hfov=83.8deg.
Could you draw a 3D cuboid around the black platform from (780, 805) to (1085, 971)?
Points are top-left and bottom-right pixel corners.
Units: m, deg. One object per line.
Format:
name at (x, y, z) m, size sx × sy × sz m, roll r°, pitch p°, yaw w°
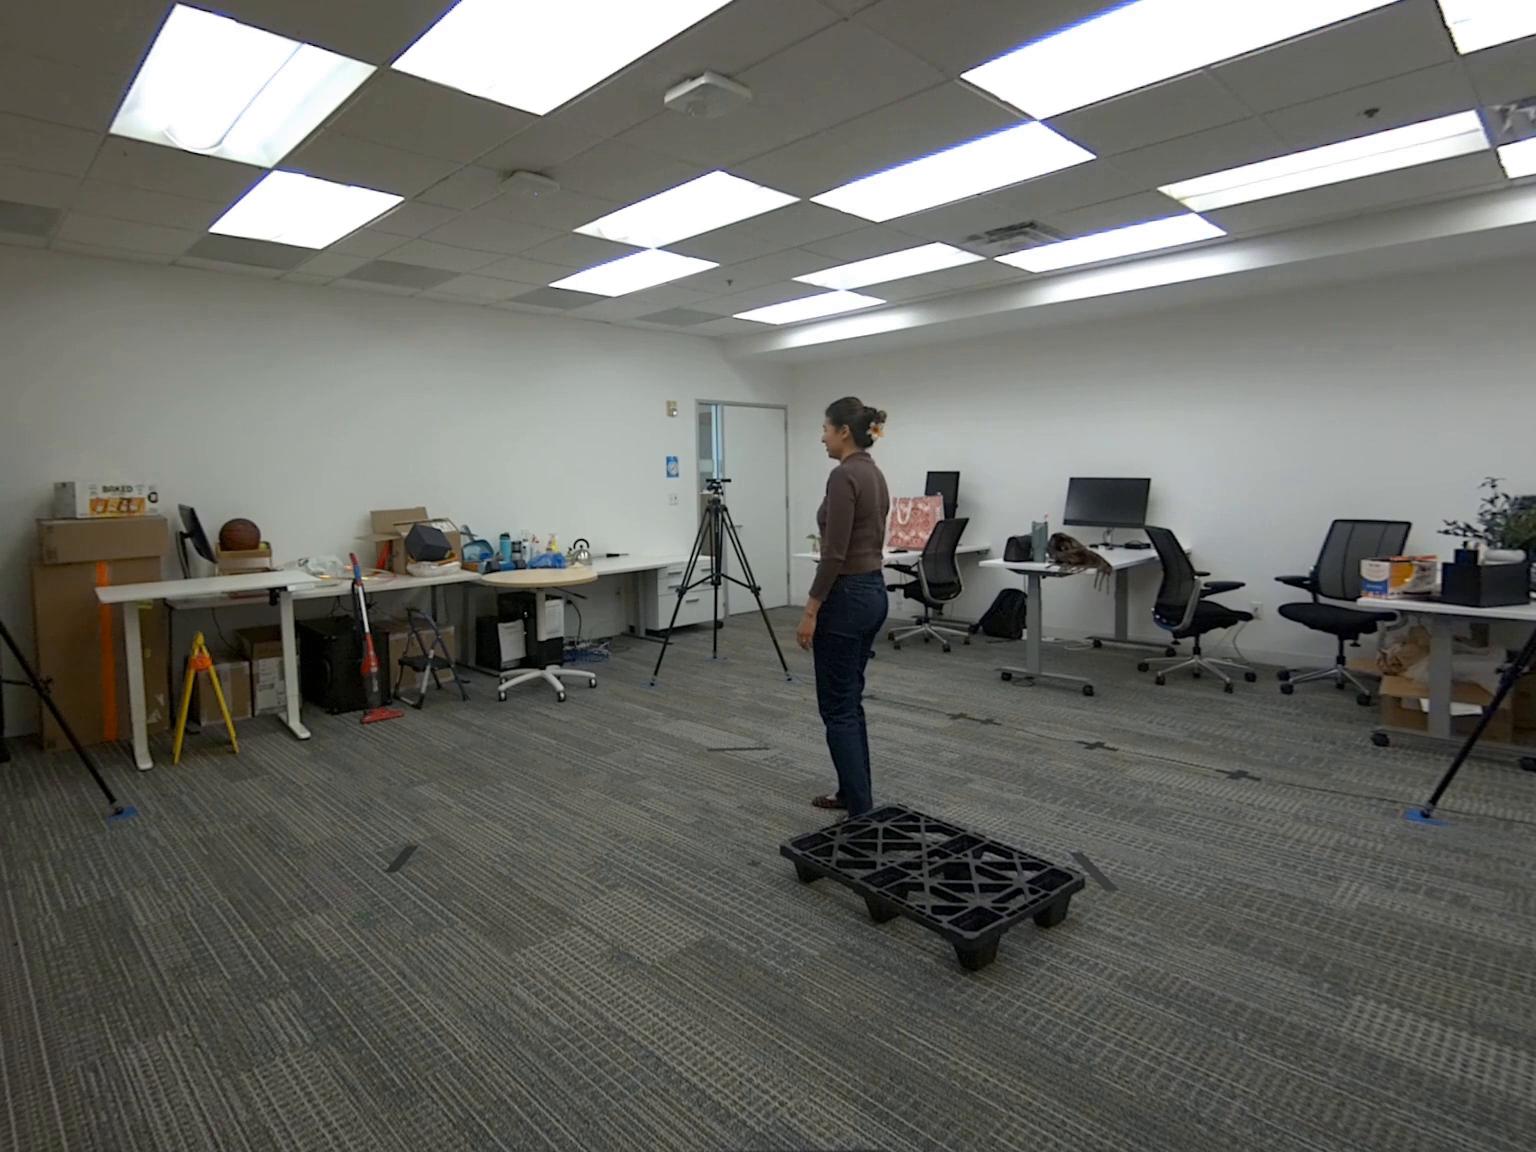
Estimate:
black platform at (0.522, 1.003, 2.816) m, size 0.590 × 0.142 × 0.830 m, roll -7°, pitch 8°, yaw -38°
